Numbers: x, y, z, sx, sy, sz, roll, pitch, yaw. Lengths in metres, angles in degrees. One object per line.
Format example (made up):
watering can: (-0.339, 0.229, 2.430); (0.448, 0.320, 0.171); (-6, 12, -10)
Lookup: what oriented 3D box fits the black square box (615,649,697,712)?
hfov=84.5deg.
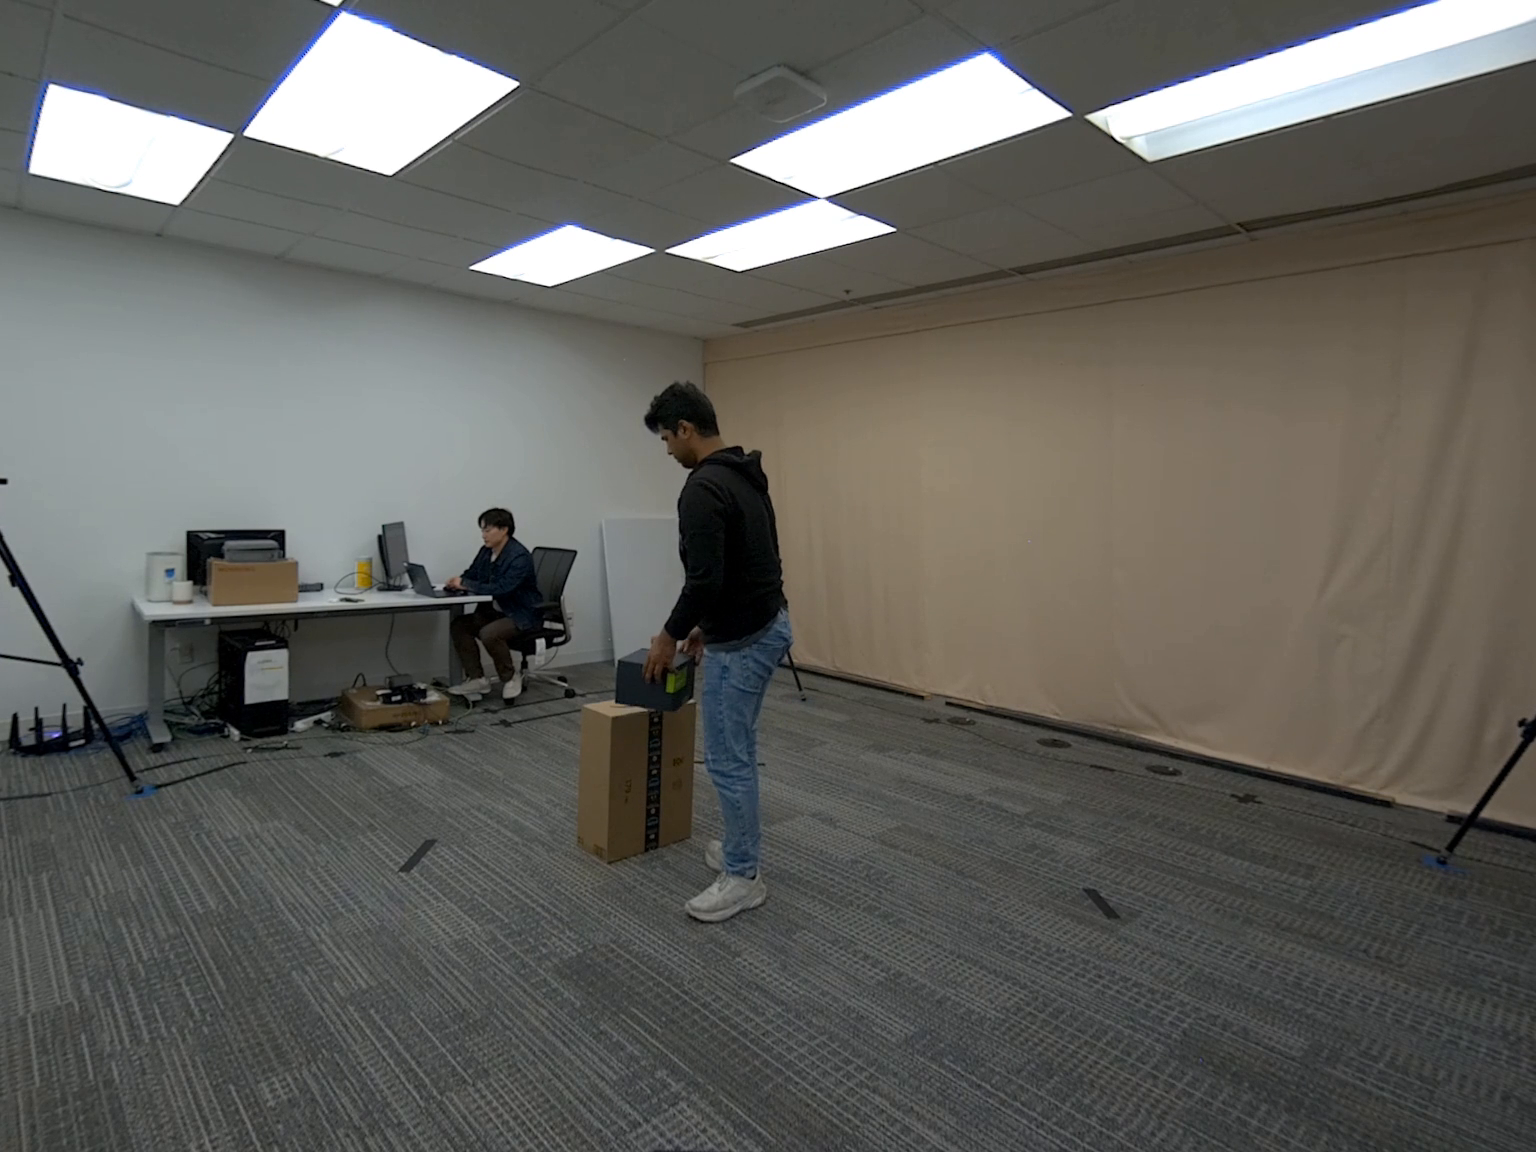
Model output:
black square box: (-0.400, 0.367, 2.982); (0.219, 0.155, 0.226); (5, 6, 13)
